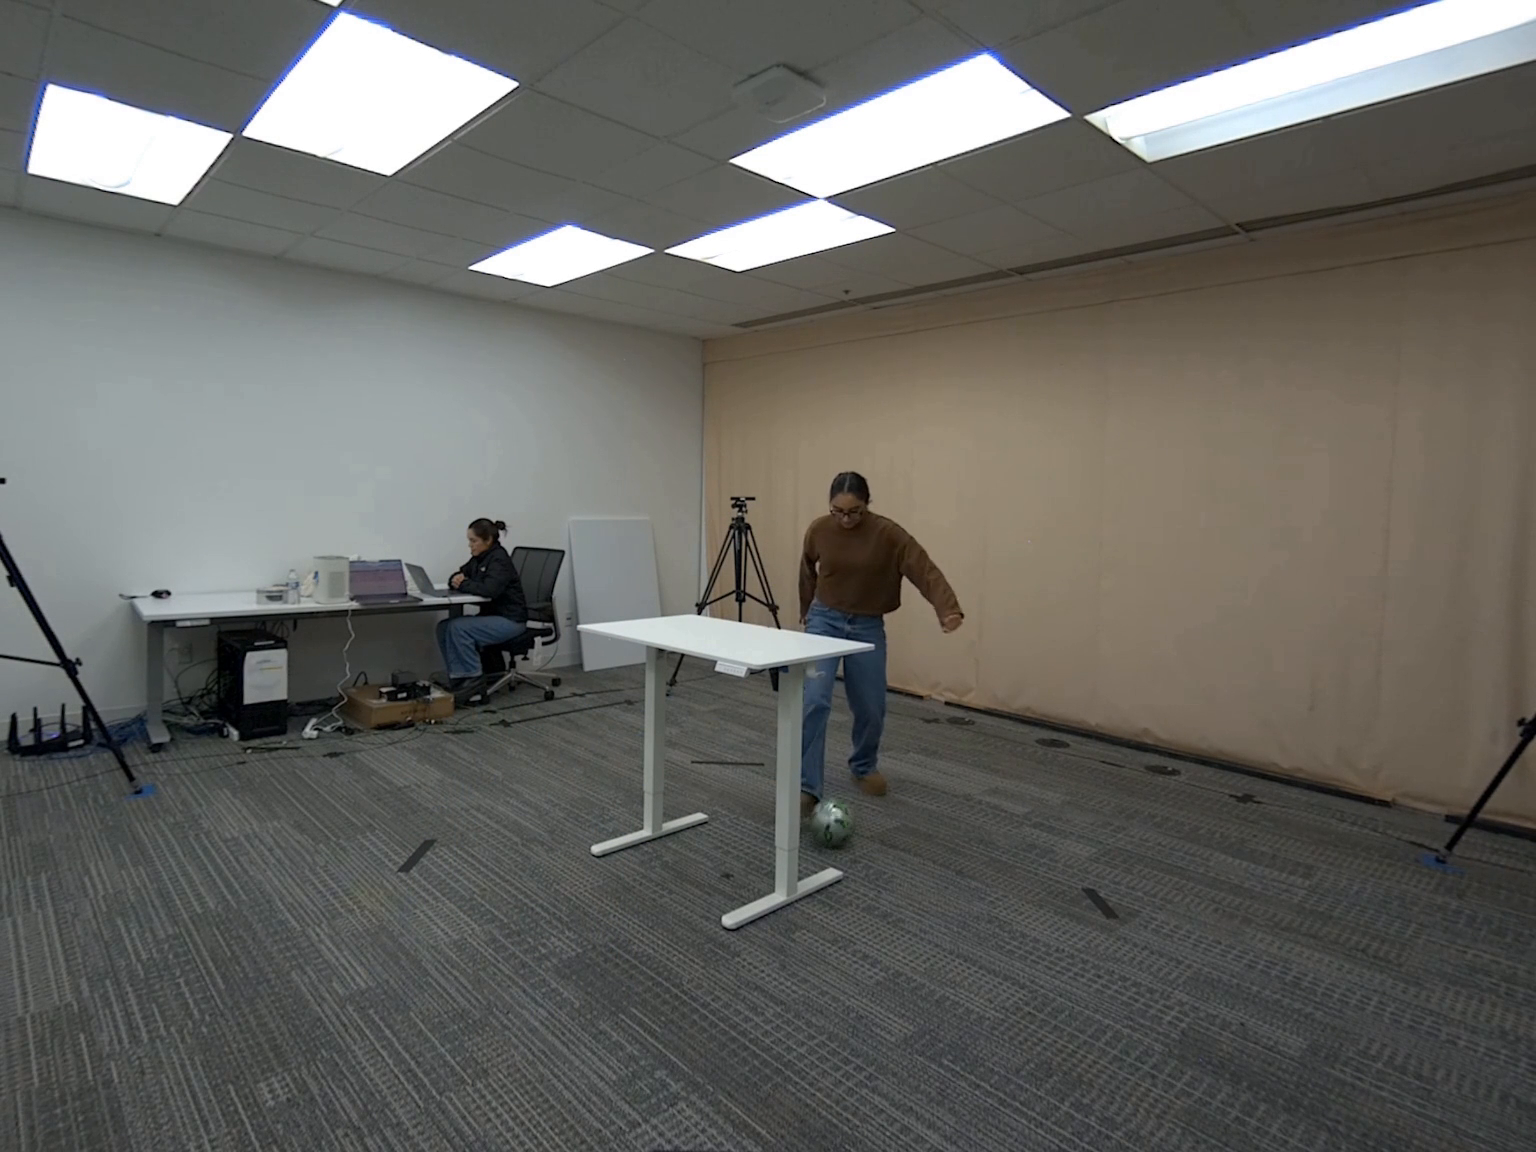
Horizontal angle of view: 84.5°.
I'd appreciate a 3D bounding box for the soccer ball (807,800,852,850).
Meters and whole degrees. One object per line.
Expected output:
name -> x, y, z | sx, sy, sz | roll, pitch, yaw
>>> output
soccer ball -> 0.250, 0.996, 3.405 | 0.187, 0.187, 0.188 | 1, 4, -1
